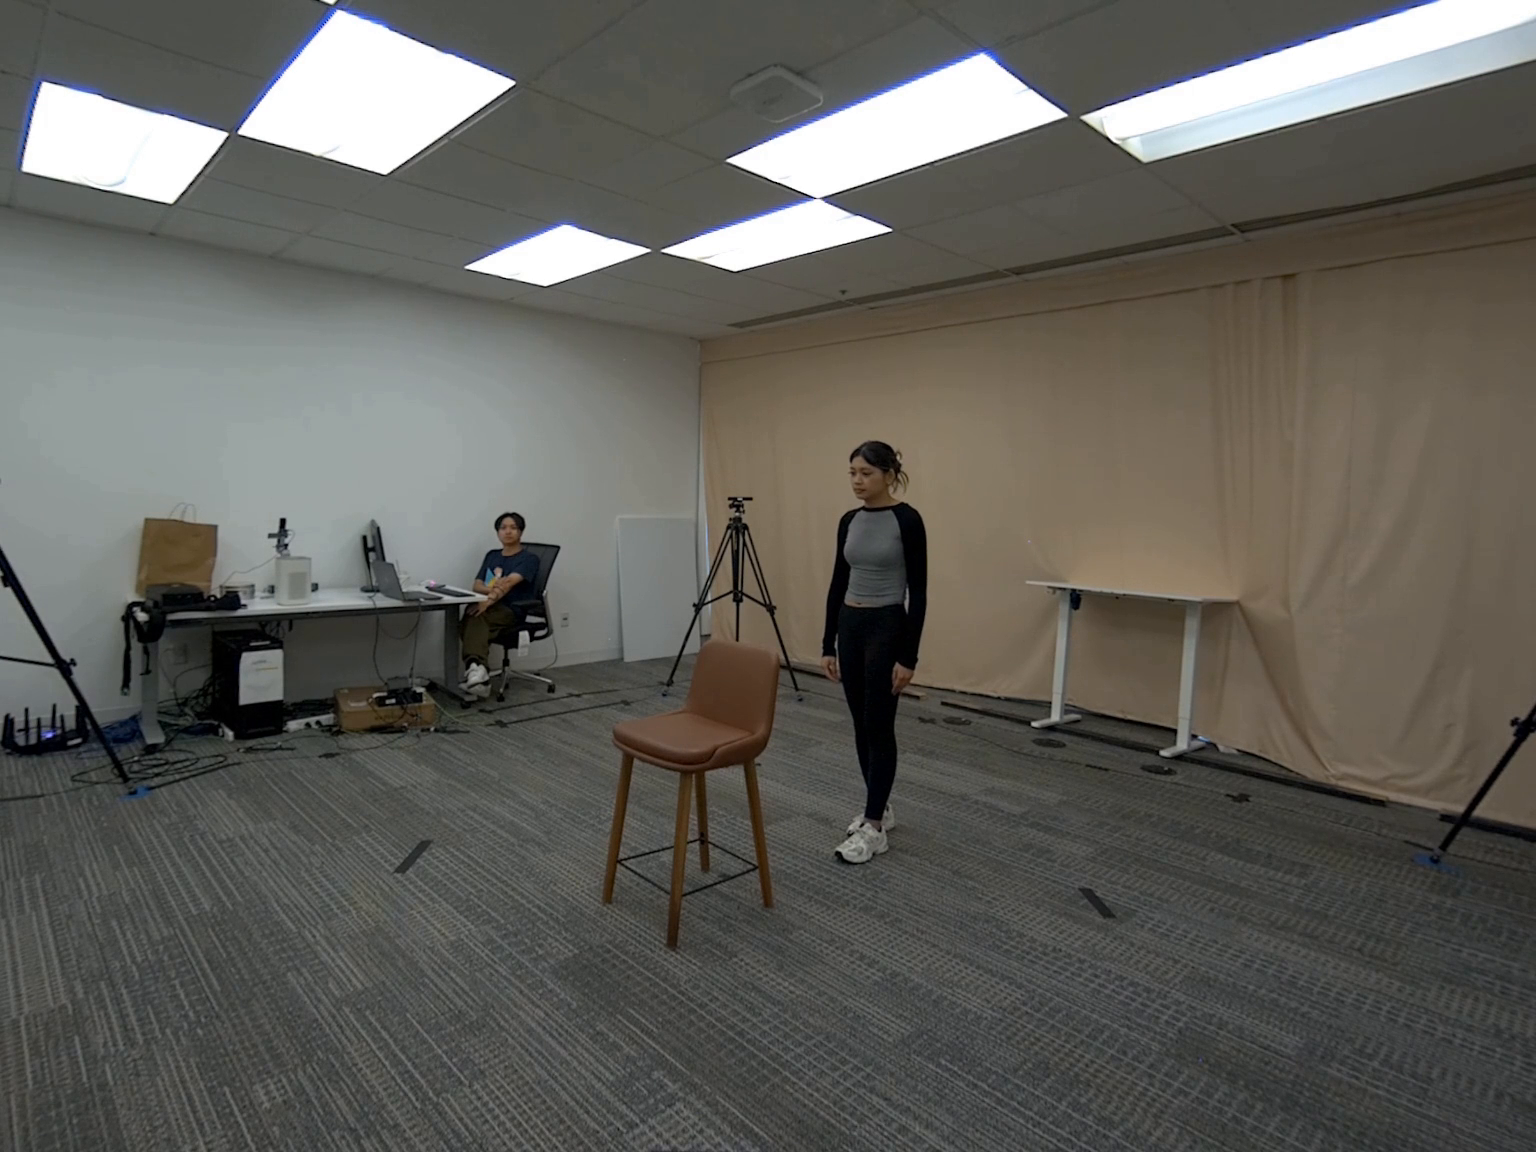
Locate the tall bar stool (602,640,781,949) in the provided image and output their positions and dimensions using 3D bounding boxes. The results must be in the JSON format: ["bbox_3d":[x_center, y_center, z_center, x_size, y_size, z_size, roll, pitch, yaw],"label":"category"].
[{"bbox_3d":[-0.259,0.694,2.855,0.456,0.889,0.468,1,2,-42],"label":"tall bar stool"}]
